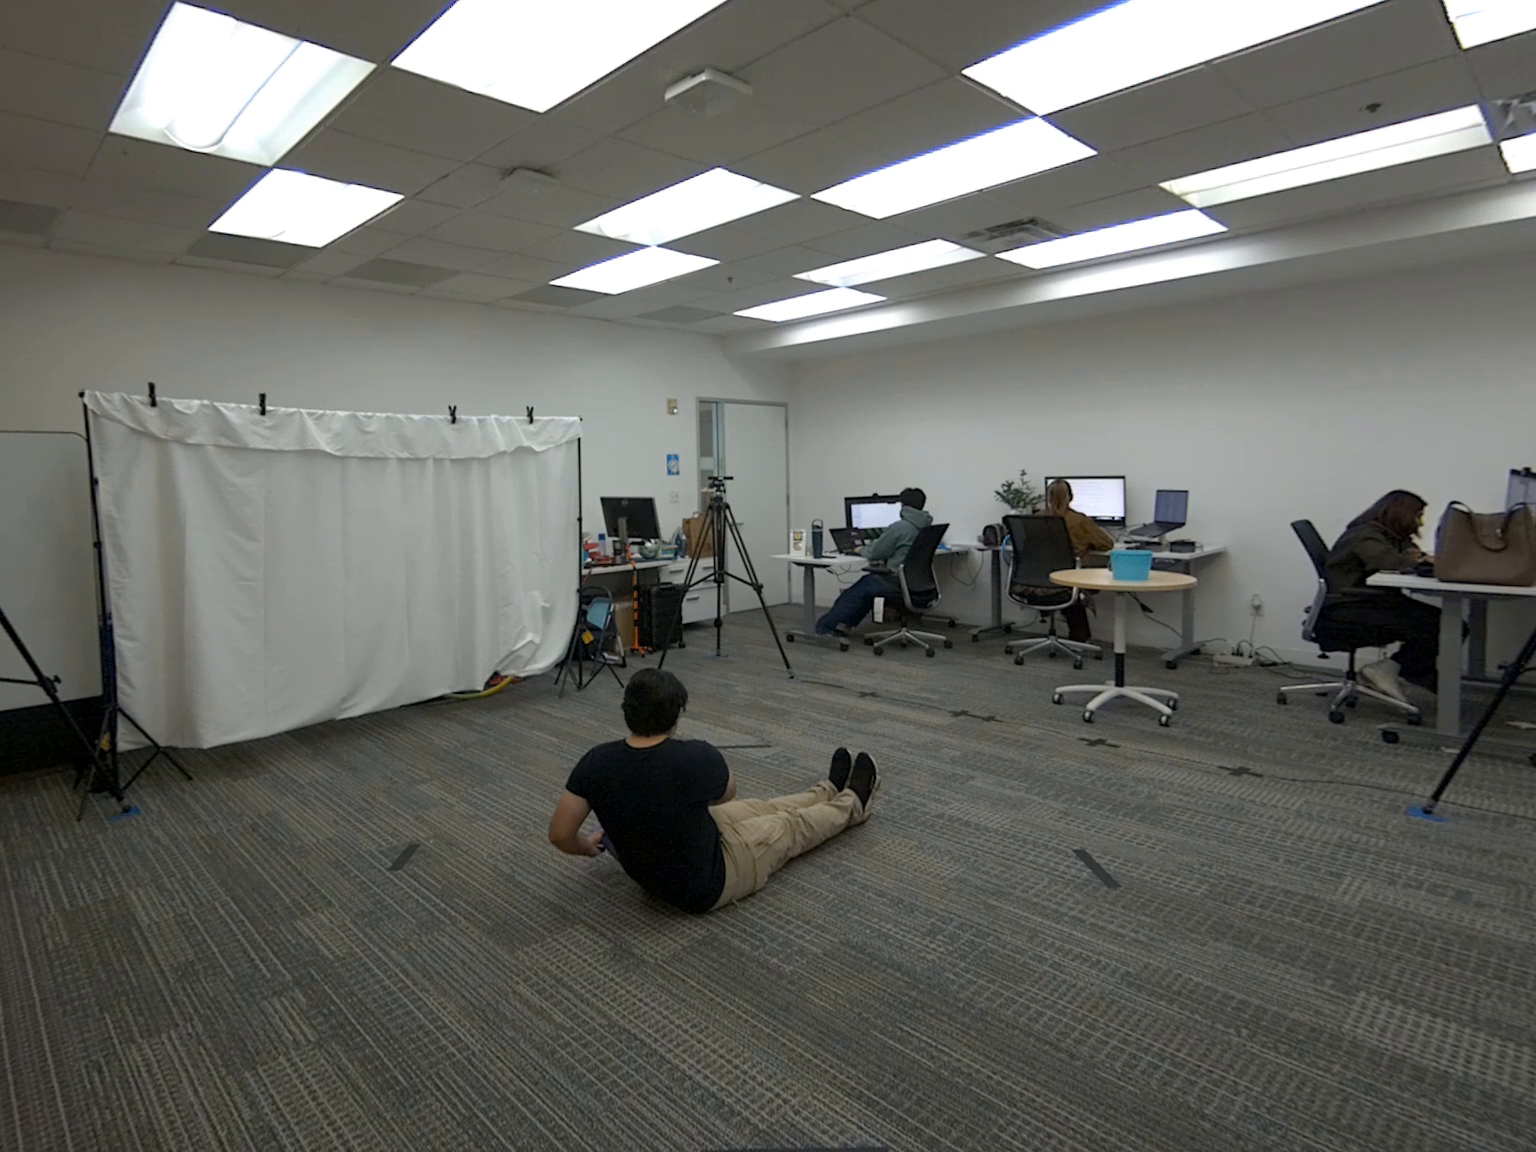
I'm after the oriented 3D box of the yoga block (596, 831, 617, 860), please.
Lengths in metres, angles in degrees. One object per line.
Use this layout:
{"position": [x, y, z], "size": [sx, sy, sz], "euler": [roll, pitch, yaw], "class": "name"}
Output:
{"position": [-0.494, 0.896, 3.065], "size": [0.229, 0.148, 0.077], "euler": [-35, 3, -7], "class": "yoga block"}
